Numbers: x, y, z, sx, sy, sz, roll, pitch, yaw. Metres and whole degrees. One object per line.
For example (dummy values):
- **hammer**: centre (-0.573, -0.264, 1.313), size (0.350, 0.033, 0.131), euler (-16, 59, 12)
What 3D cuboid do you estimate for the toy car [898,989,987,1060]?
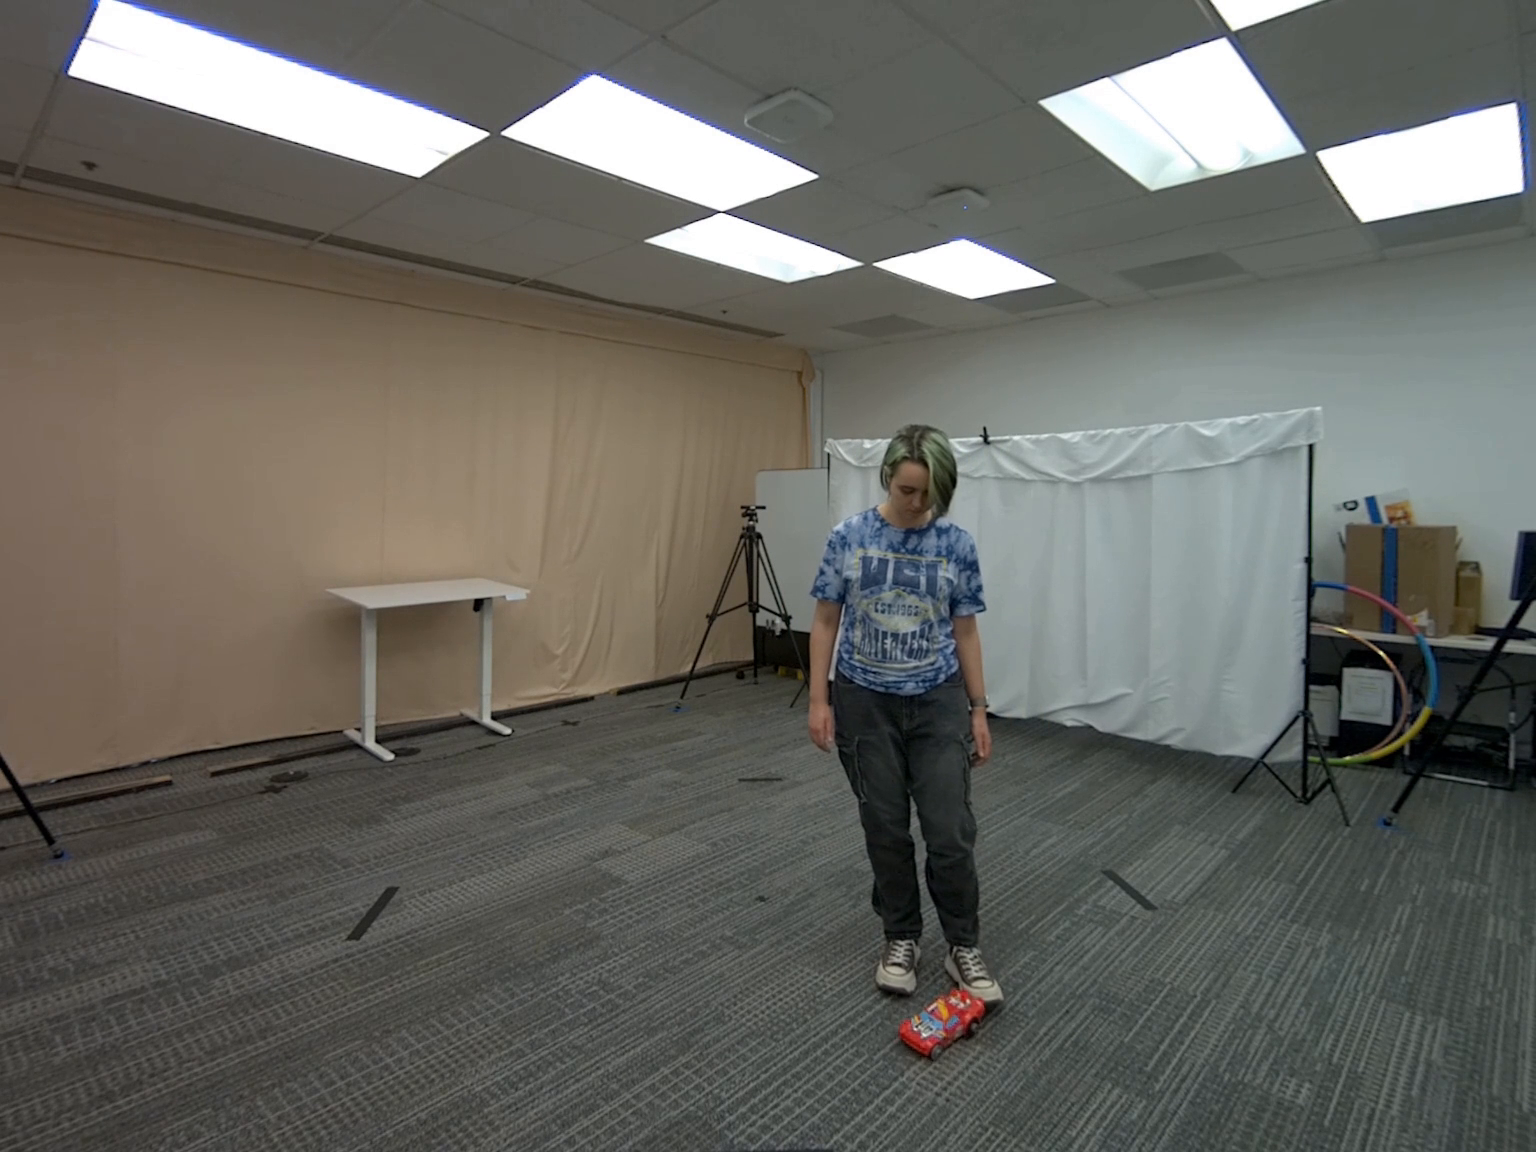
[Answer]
- **toy car**: centre (0.468, 1.171, 2.206), size (0.249, 0.082, 0.134), euler (-20, 16, -32)
